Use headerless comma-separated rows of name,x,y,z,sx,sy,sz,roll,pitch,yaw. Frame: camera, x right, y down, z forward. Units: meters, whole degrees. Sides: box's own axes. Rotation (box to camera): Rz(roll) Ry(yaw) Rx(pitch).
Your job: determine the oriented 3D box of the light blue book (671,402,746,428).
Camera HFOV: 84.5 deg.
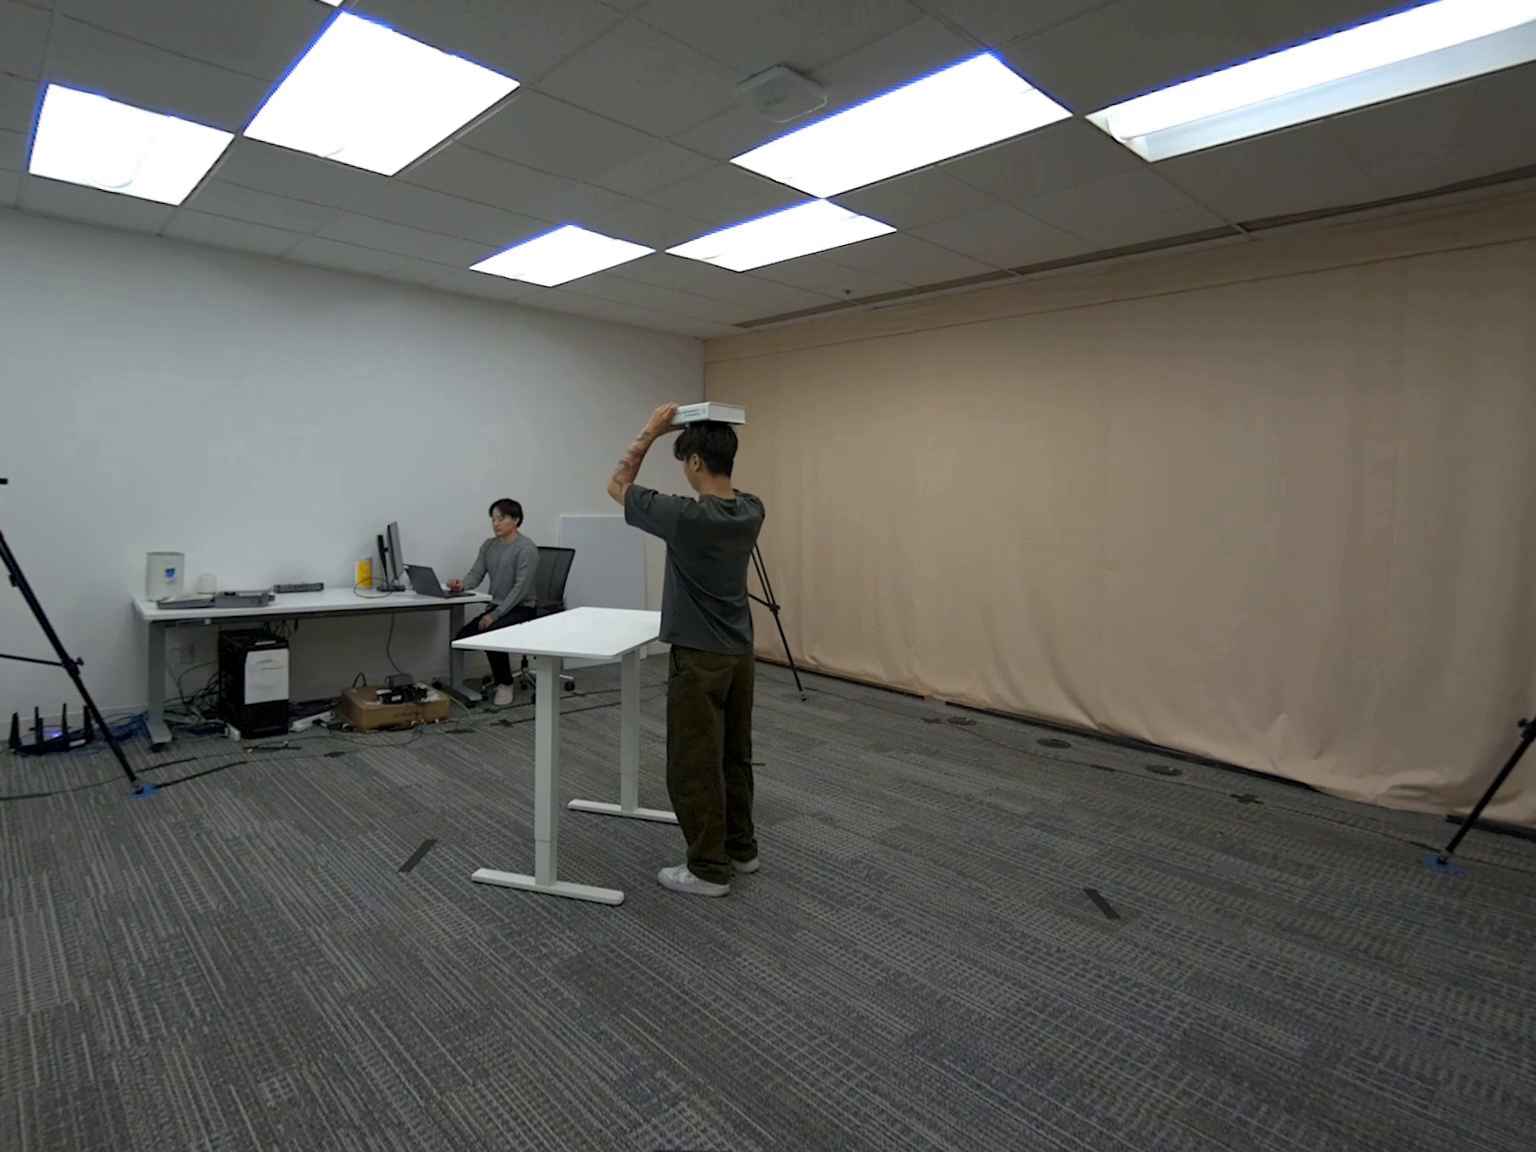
light blue book,-0.245,-0.559,2.957,0.267,0.059,0.187,3,4,40
